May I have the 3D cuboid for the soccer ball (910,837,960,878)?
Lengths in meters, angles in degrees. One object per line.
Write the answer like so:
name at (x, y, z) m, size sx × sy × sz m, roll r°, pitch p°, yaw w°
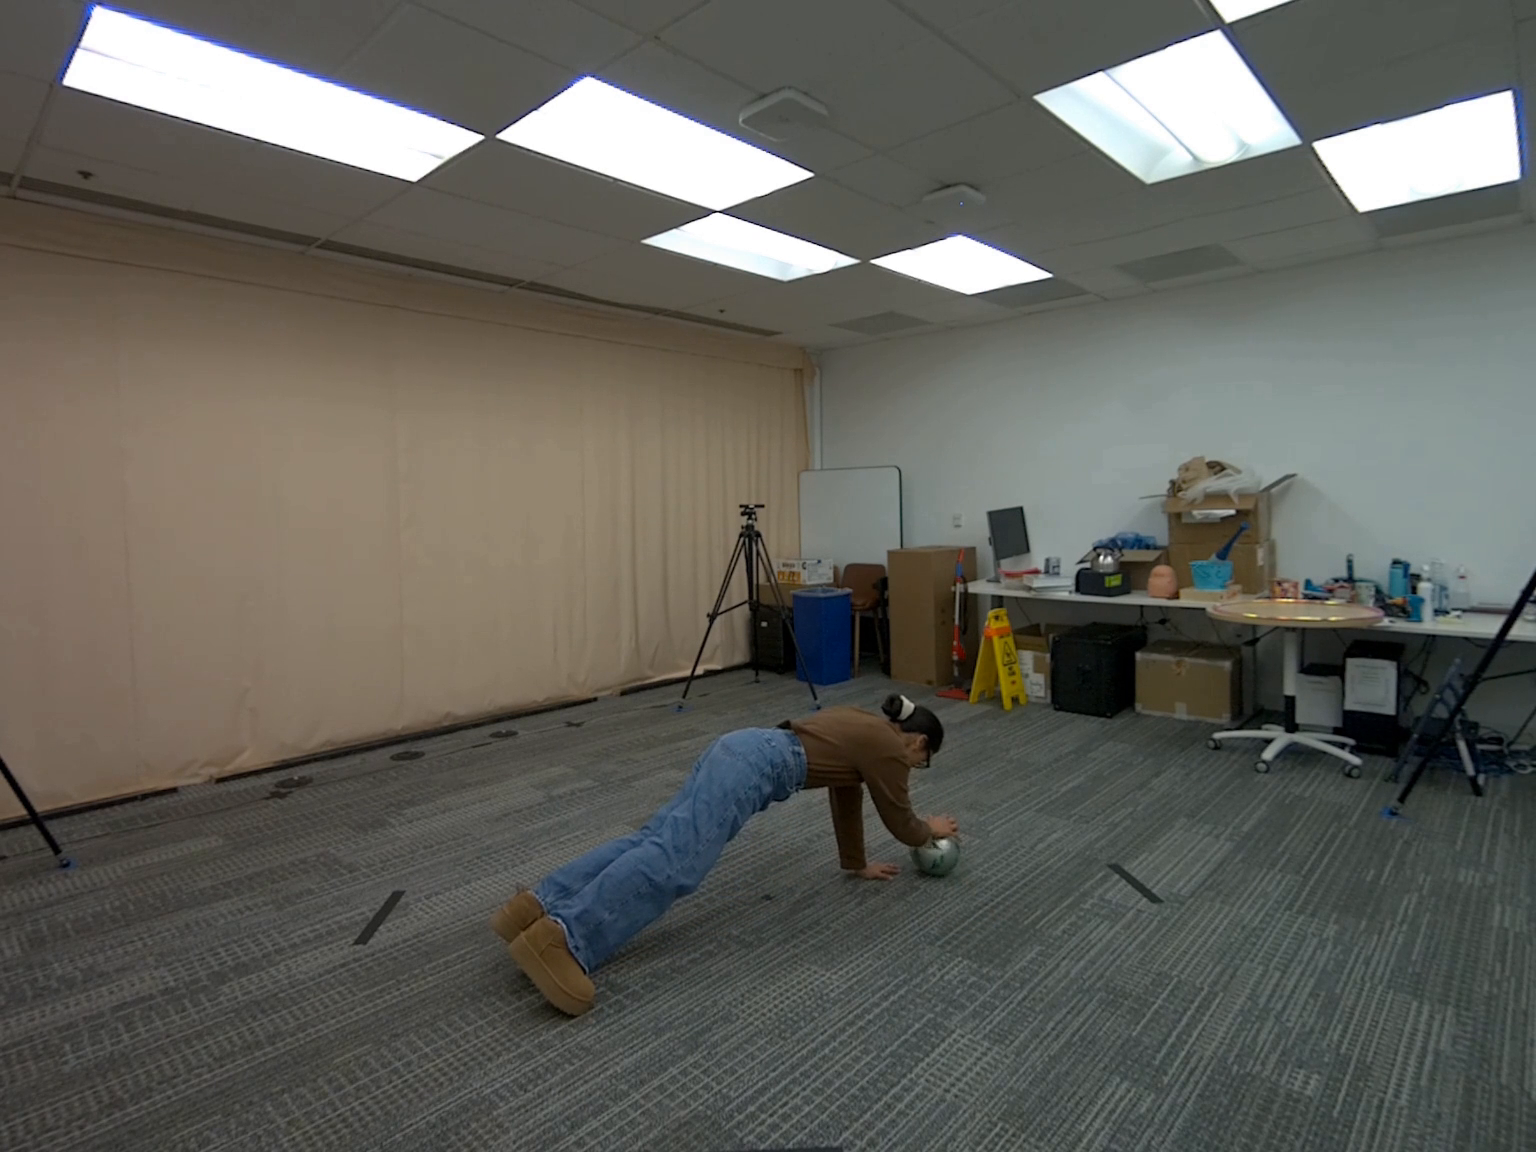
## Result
soccer ball at (0.625, 1.022, 3.152) m, size 0.187 × 0.187 × 0.188 m, roll -1°, pitch 4°, yaw -2°
